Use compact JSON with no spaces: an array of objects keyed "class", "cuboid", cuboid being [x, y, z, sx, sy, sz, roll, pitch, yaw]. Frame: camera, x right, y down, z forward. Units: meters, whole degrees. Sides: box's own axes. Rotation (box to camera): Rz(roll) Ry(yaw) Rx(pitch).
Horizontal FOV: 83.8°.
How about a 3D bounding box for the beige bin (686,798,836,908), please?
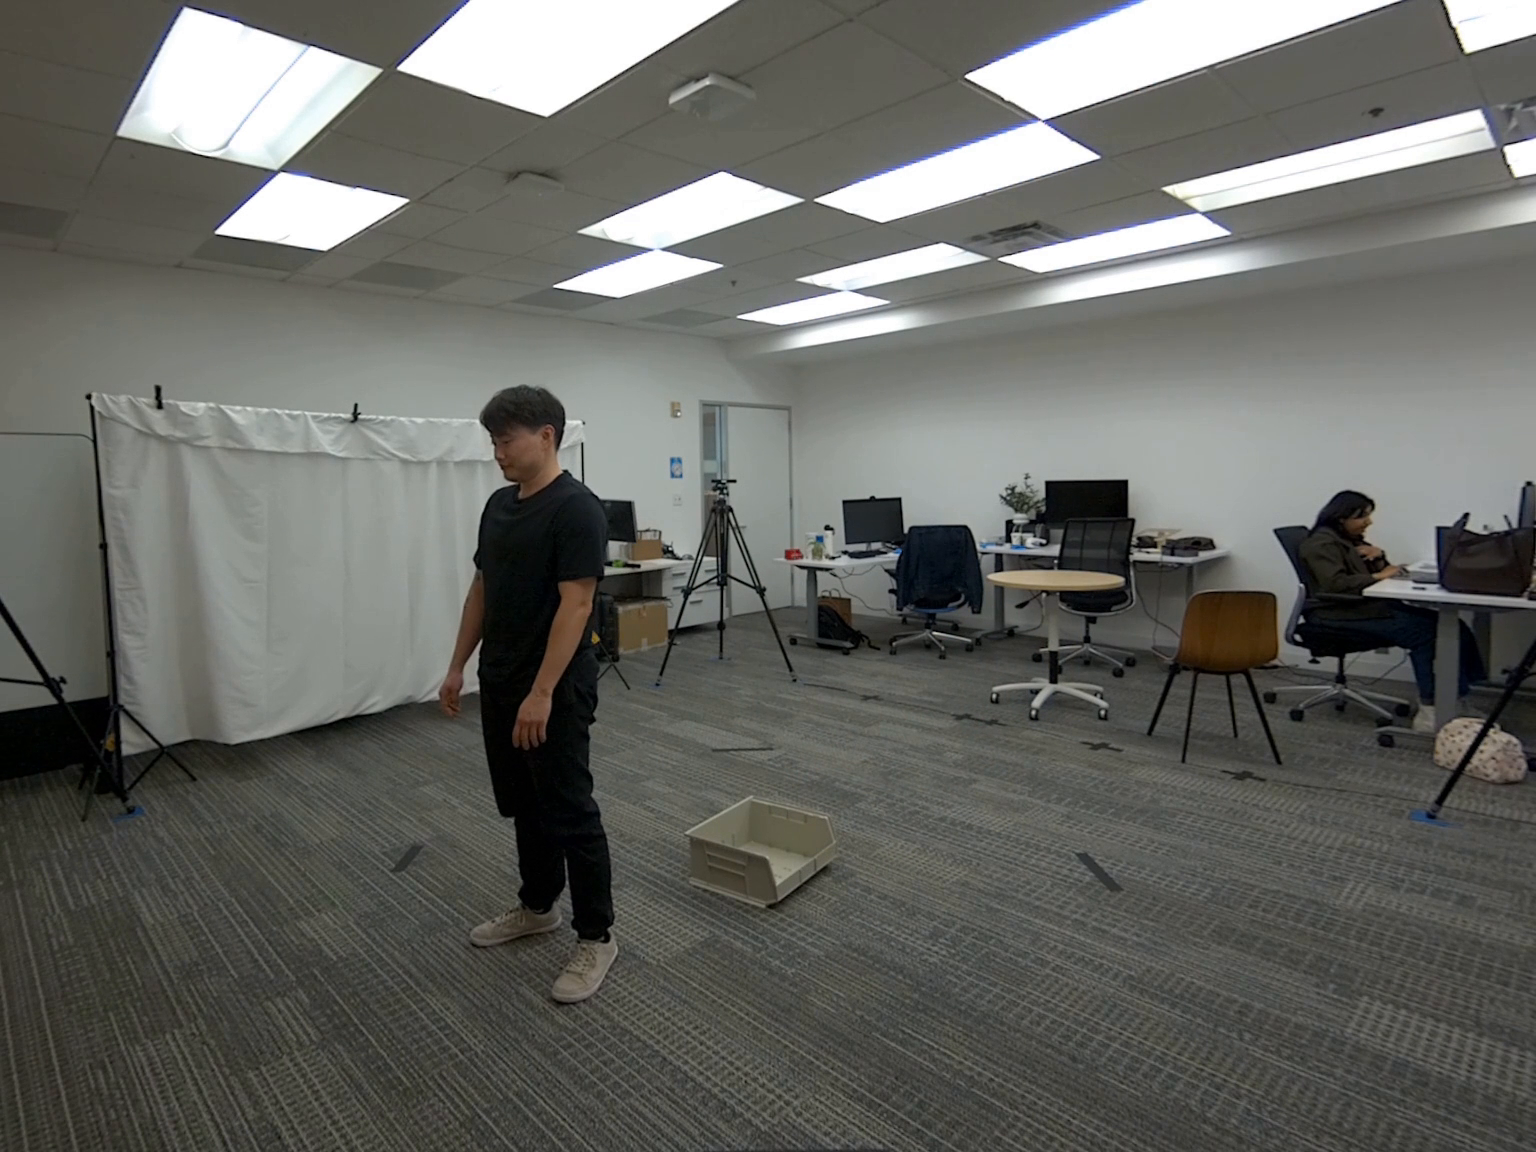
[{"class":"beige bin","cuboid":[-0.016,0.969,3.021,0.388,0.188,0.412,2,7,34]}]
